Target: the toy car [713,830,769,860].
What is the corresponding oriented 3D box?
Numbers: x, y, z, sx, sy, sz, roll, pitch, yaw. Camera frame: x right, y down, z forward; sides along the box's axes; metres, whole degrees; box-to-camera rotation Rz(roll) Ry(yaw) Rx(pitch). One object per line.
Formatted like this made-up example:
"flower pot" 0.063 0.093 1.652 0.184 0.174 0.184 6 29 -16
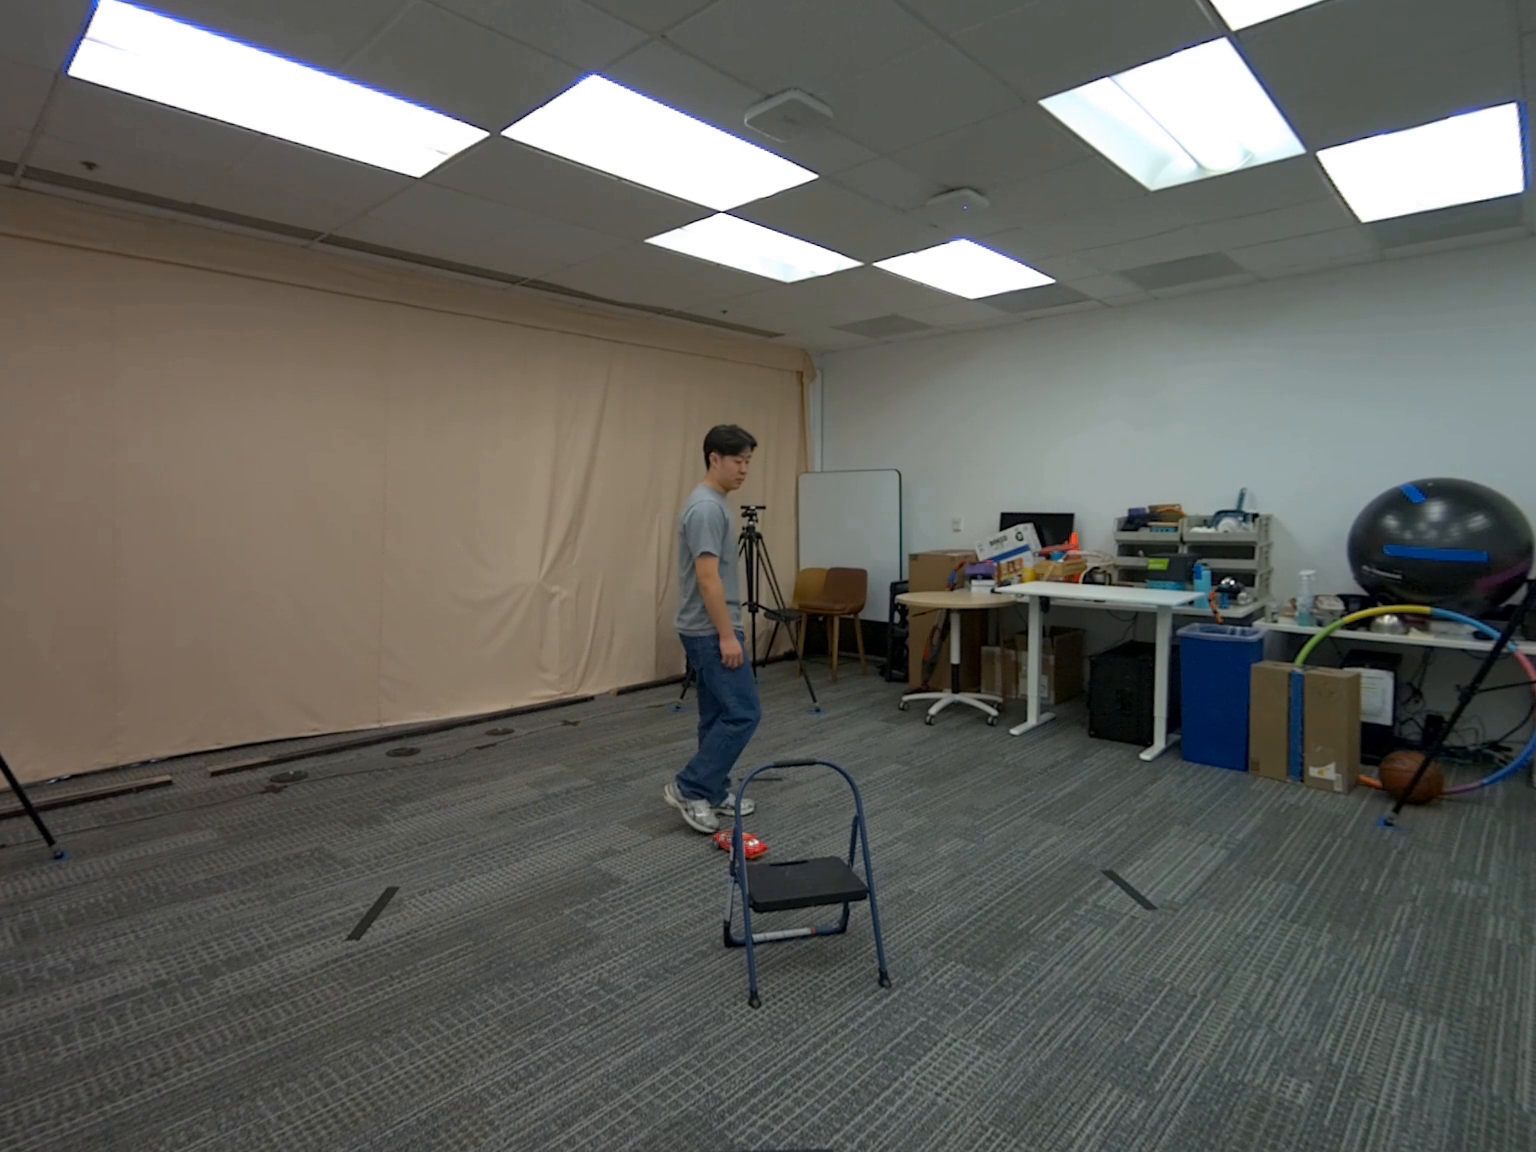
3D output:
"toy car" -0.108 1.079 3.376 0.126 0.083 0.261 -4 -5 -42
